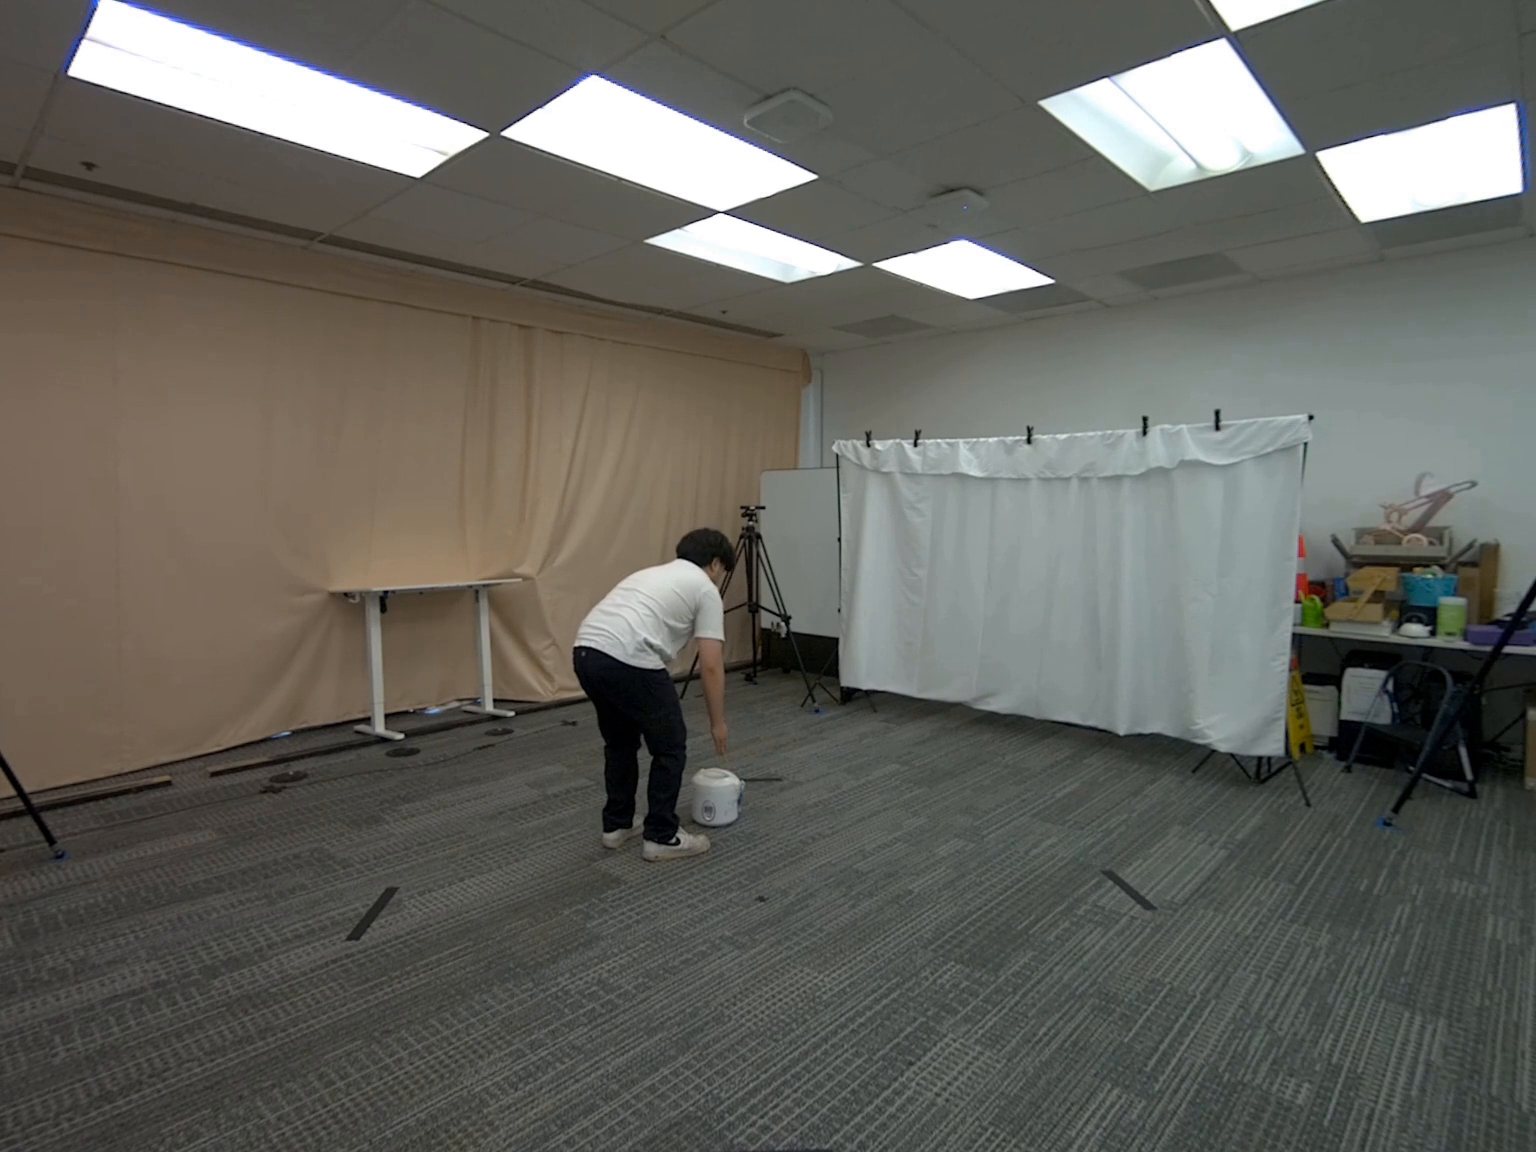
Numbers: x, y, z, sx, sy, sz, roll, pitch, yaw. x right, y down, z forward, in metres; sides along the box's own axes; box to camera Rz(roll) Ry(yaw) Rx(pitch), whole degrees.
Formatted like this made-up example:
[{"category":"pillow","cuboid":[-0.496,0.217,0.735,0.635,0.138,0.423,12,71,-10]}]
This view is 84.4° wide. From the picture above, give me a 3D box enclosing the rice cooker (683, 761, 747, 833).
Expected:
[{"category":"rice cooker","cuboid":[-0.233,0.965,3.727,0.224,0.232,0.214,0,2,13]}]
